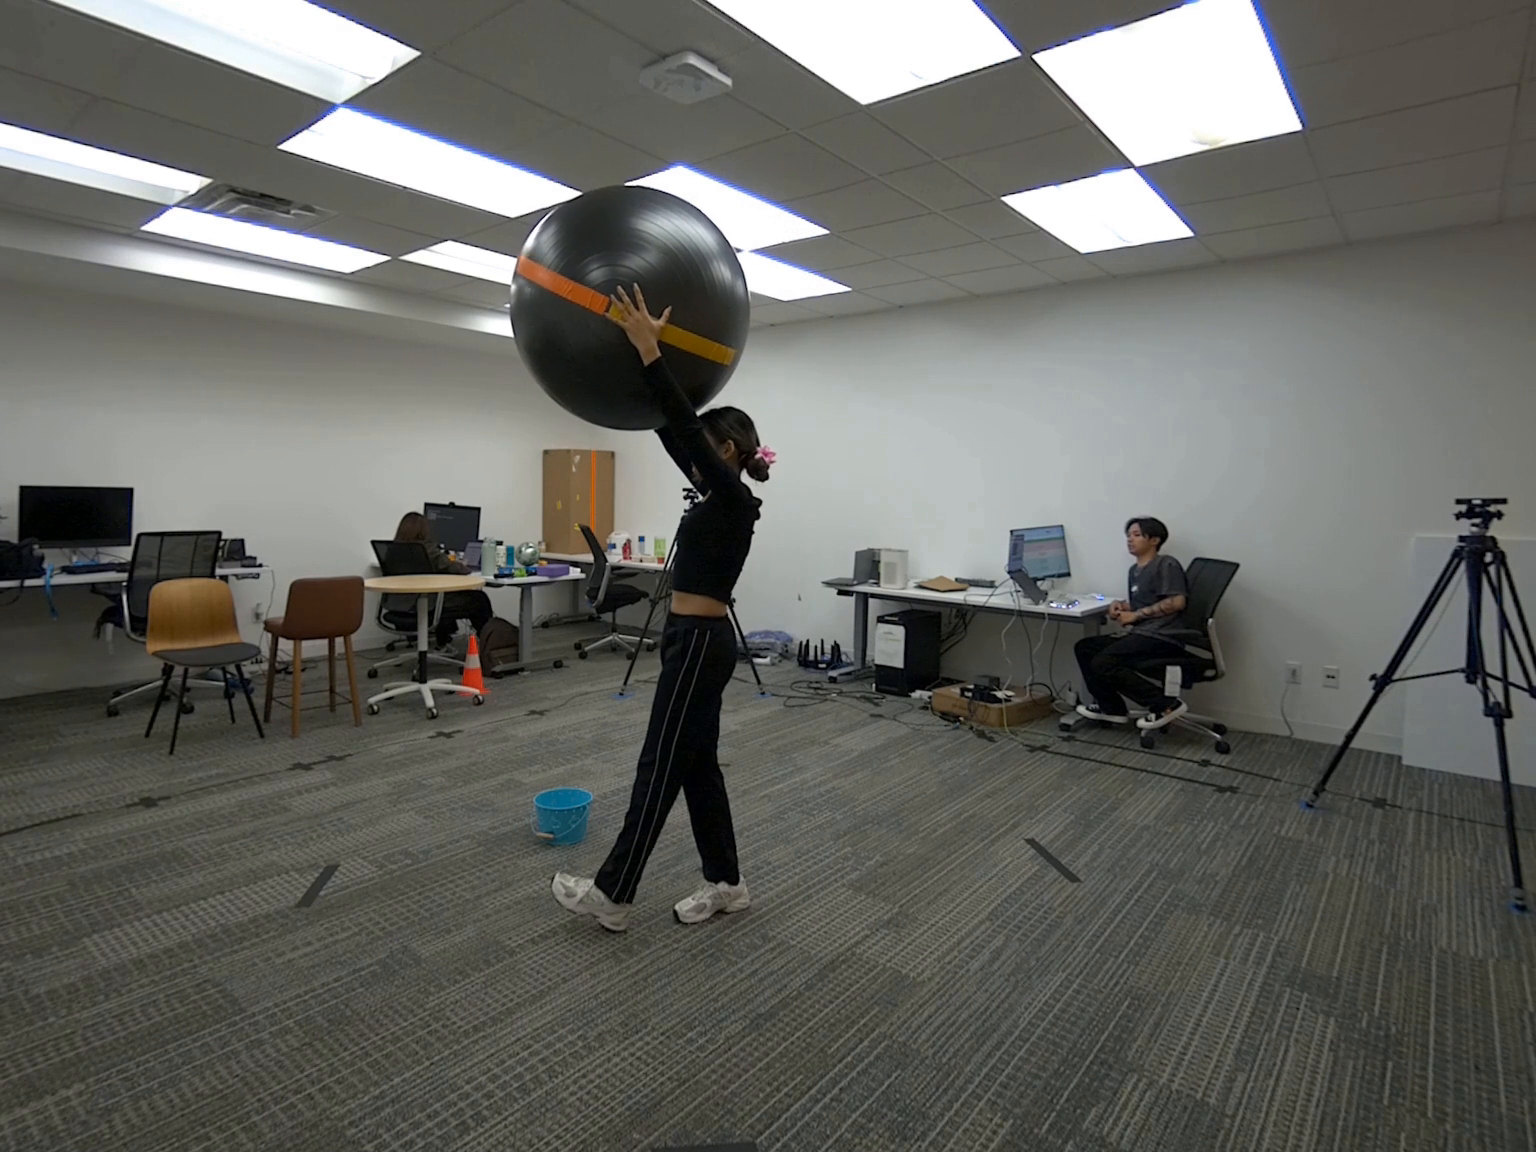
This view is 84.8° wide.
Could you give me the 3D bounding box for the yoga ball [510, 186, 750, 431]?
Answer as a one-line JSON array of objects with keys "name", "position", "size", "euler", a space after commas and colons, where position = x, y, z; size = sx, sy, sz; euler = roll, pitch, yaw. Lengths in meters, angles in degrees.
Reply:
[{"name": "yoga ball", "position": [-0.446, -0.838, 2.715], "size": [0.757, 0.755, 0.762], "euler": [1, 4, -2]}]
